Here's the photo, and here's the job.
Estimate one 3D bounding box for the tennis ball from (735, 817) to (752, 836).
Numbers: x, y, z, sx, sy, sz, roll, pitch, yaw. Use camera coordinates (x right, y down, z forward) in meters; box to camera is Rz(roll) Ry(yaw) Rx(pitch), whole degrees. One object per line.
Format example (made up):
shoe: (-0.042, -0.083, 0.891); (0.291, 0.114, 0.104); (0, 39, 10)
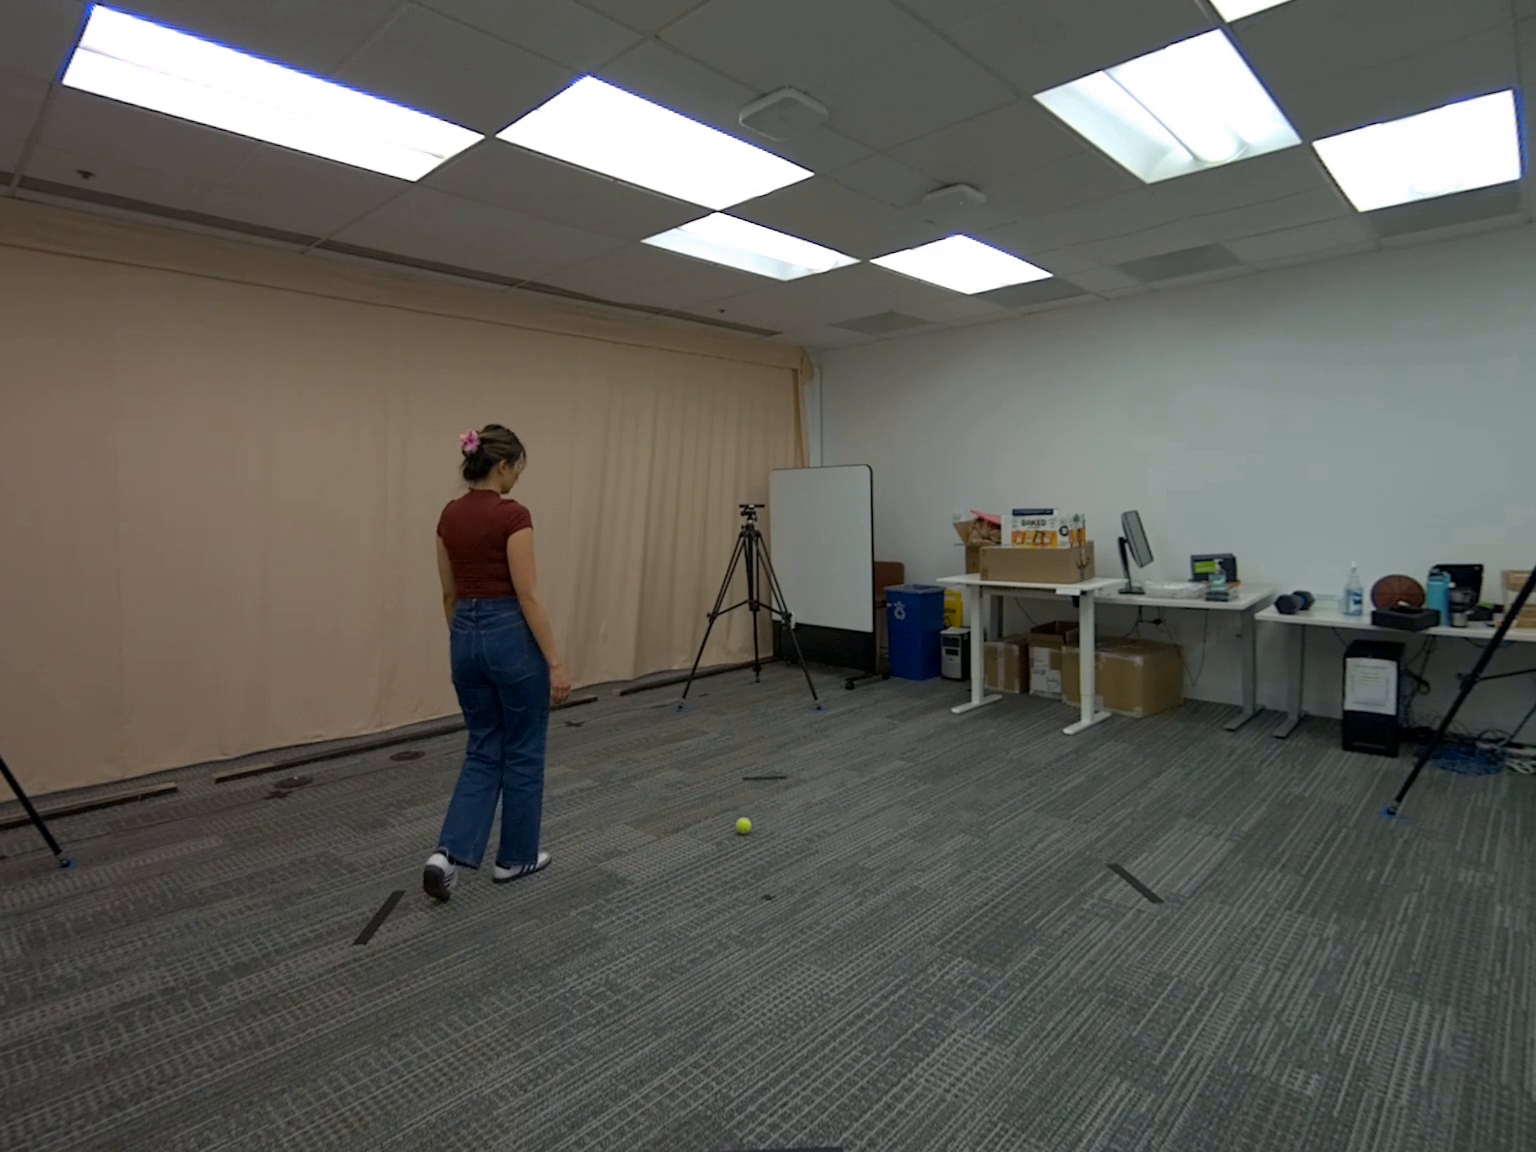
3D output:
tennis ball: (-0.109, 1.052, 3.557); (0.066, 0.066, 0.067); (-1, 4, -2)
